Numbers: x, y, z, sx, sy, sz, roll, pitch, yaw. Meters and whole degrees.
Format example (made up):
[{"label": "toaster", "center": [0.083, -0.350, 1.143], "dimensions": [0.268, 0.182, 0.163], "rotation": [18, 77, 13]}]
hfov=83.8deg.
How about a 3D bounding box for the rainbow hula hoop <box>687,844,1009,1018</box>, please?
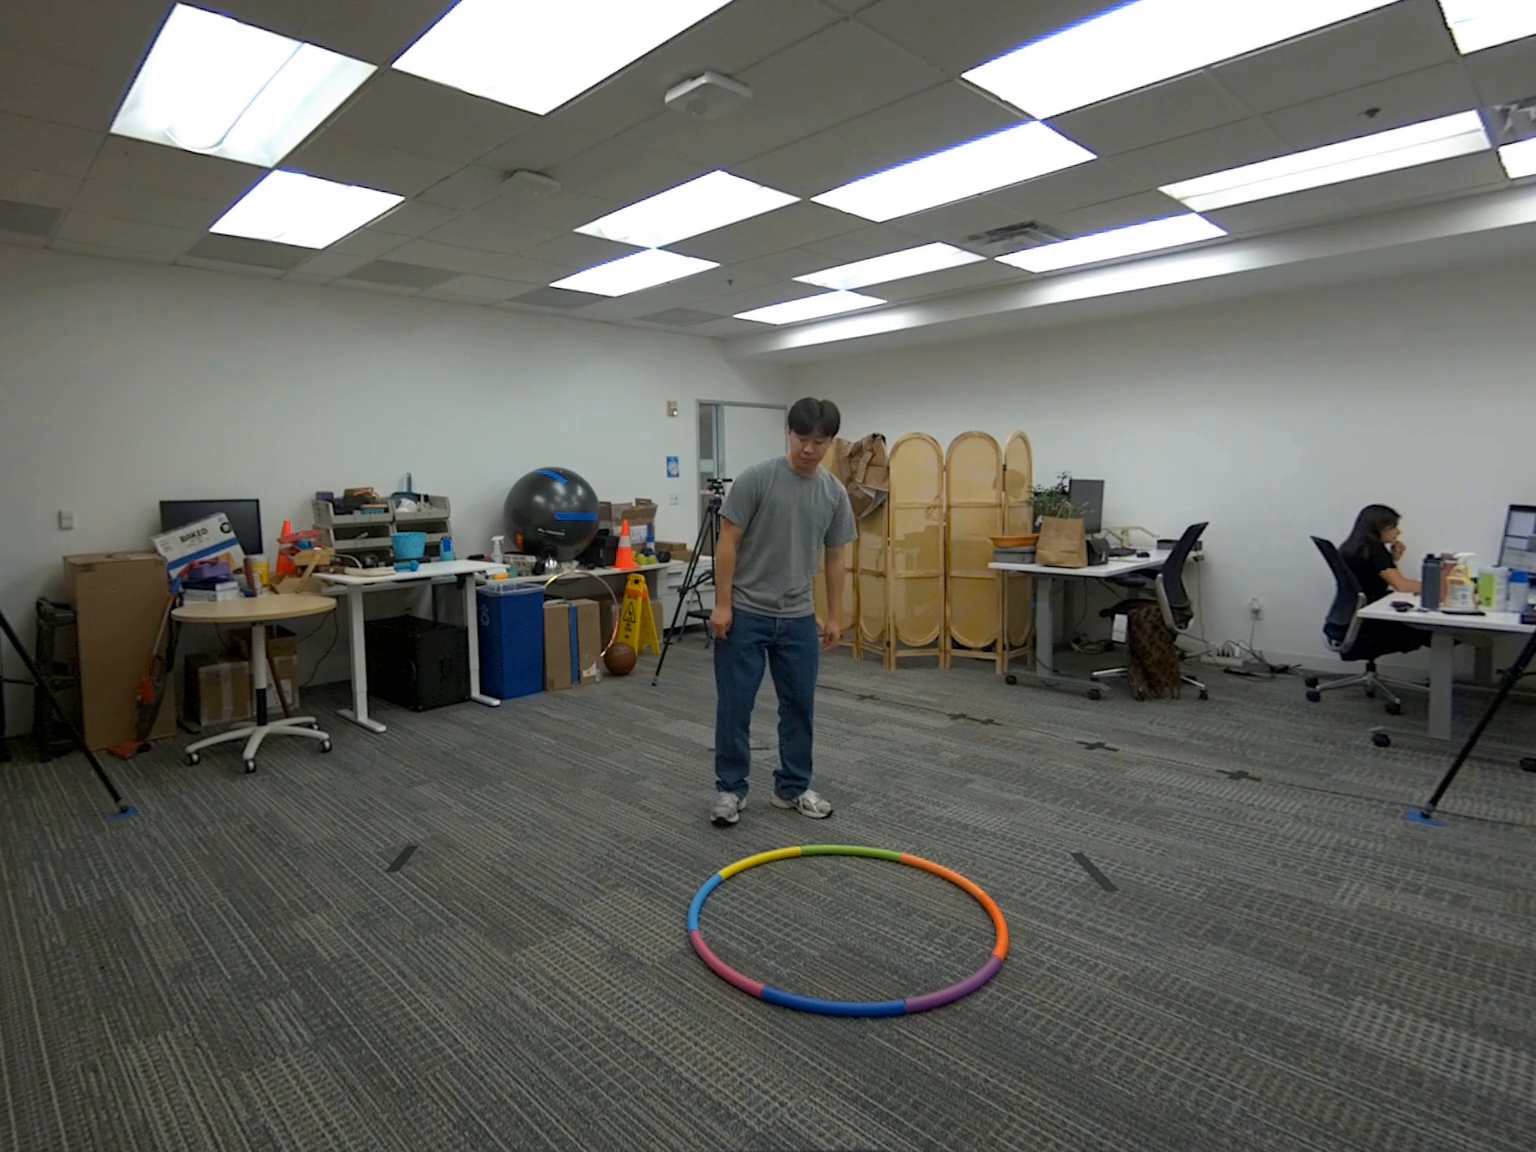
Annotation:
[{"label": "rainbow hula hoop", "center": [0.234, 1.061, 2.697], "dimensions": [0.978, 0.035, 0.984], "rotation": [-2, 7, -1]}]
